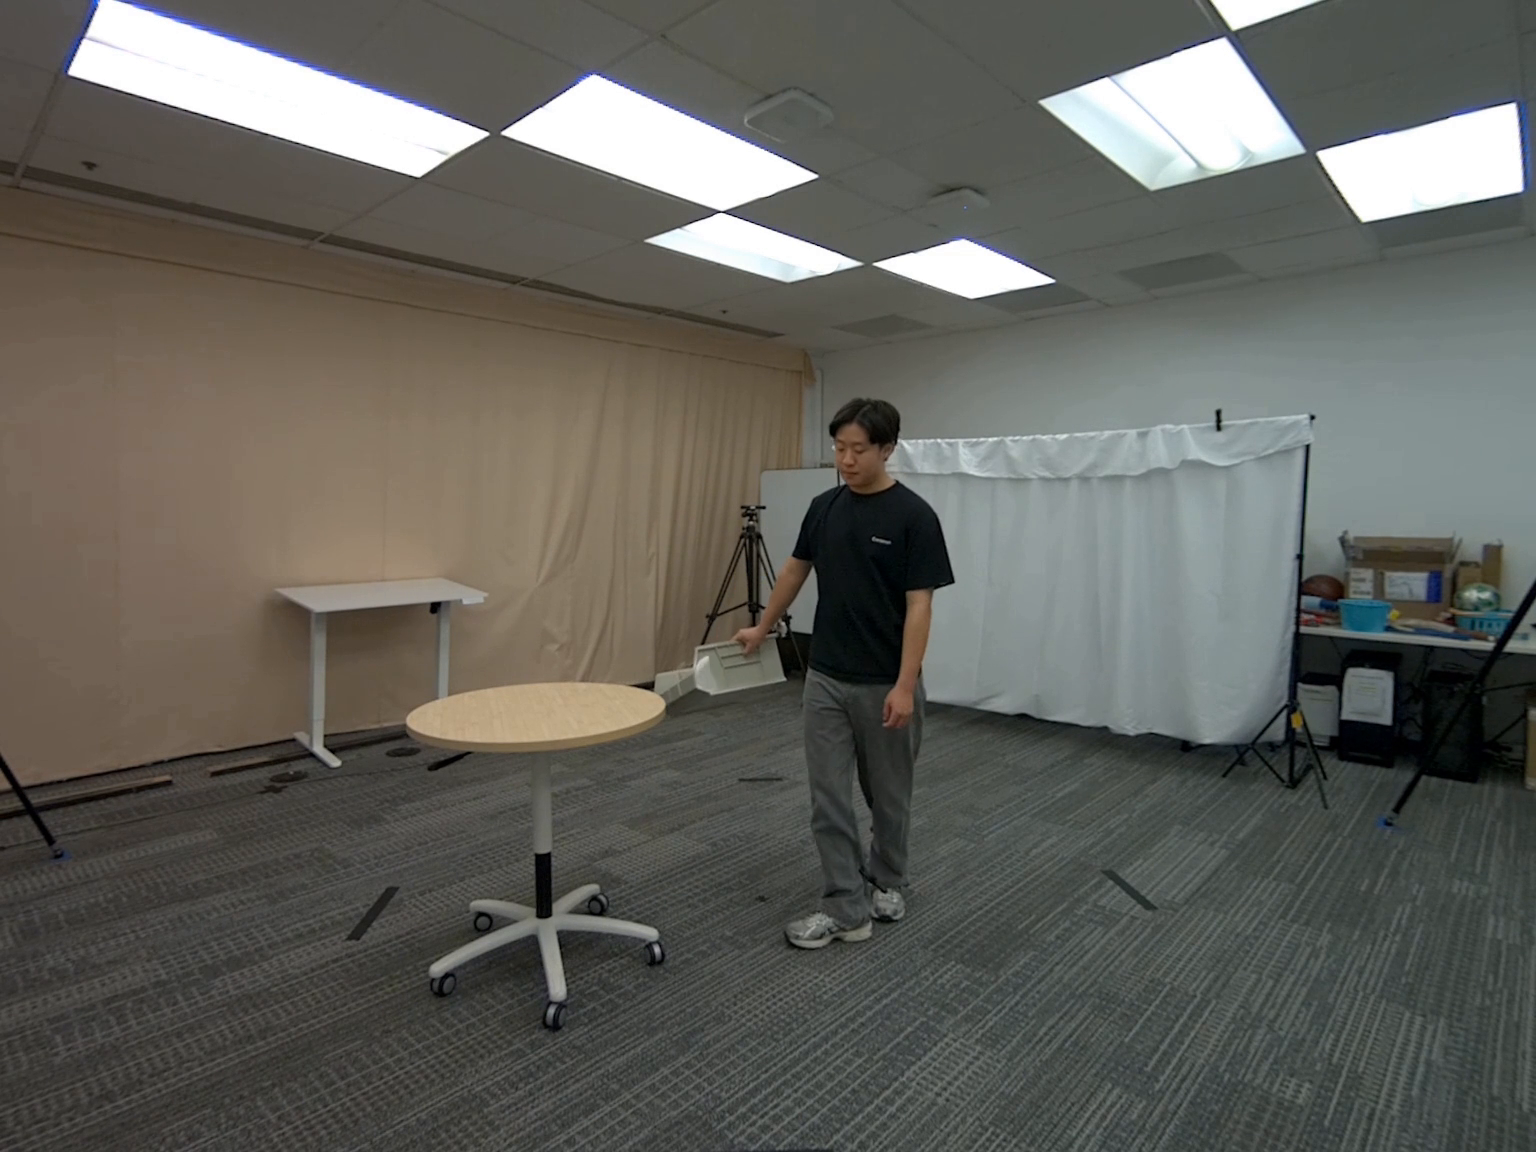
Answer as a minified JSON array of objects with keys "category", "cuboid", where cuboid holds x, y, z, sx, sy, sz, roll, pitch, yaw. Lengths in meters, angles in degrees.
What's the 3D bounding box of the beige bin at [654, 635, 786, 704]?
[{"category":"beige bin","cuboid":[-0.198,0.374,3.203,0.368,0.191,0.427,-5,-17,-28]}]
